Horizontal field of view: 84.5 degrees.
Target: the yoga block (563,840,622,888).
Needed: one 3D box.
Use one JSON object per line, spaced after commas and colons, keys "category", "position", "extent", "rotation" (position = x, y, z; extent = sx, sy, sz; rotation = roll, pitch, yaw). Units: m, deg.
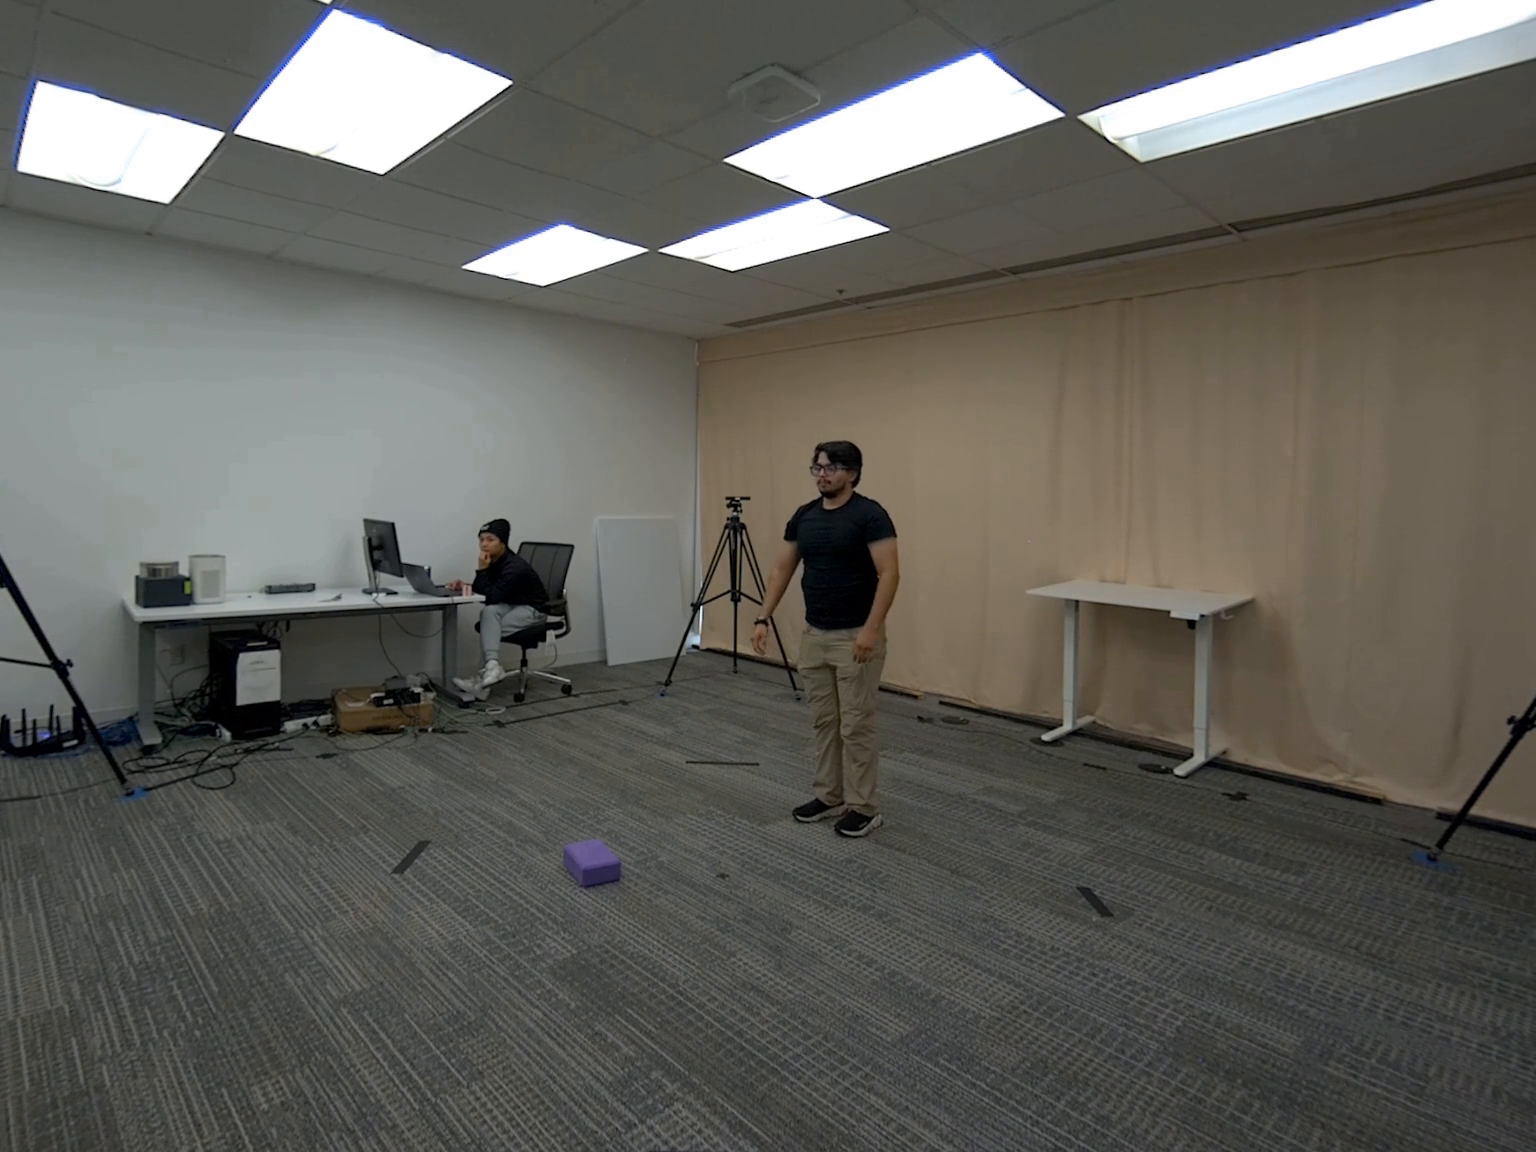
{"category": "yoga block", "position": [-0.659, 1.054, 3.104], "extent": [0.146, 0.076, 0.234], "rotation": [-1, 5, -30]}
